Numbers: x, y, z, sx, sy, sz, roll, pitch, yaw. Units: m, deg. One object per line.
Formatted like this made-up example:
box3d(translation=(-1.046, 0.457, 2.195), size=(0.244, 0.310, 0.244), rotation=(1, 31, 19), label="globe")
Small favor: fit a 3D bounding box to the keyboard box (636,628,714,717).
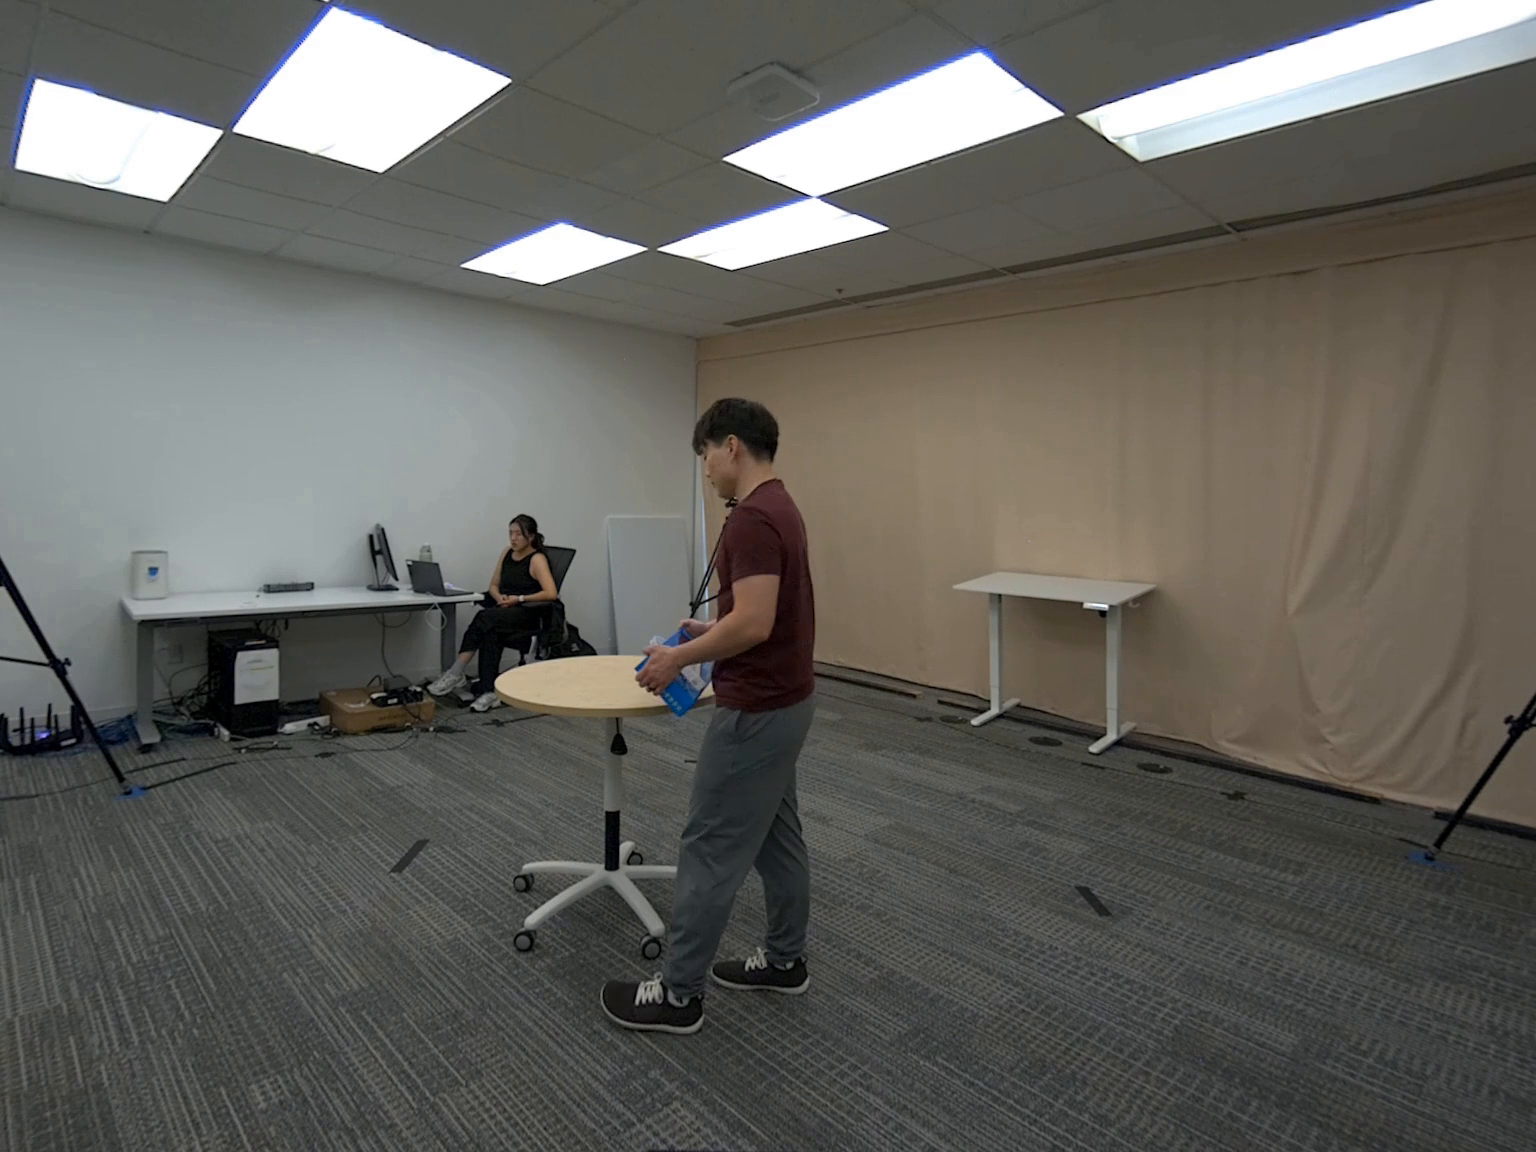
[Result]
box3d(translation=(-0.256, 0.254, 2.377), size=(0.176, 0.059, 0.436), rotation=(46, 9, 0), label="keyboard box")
